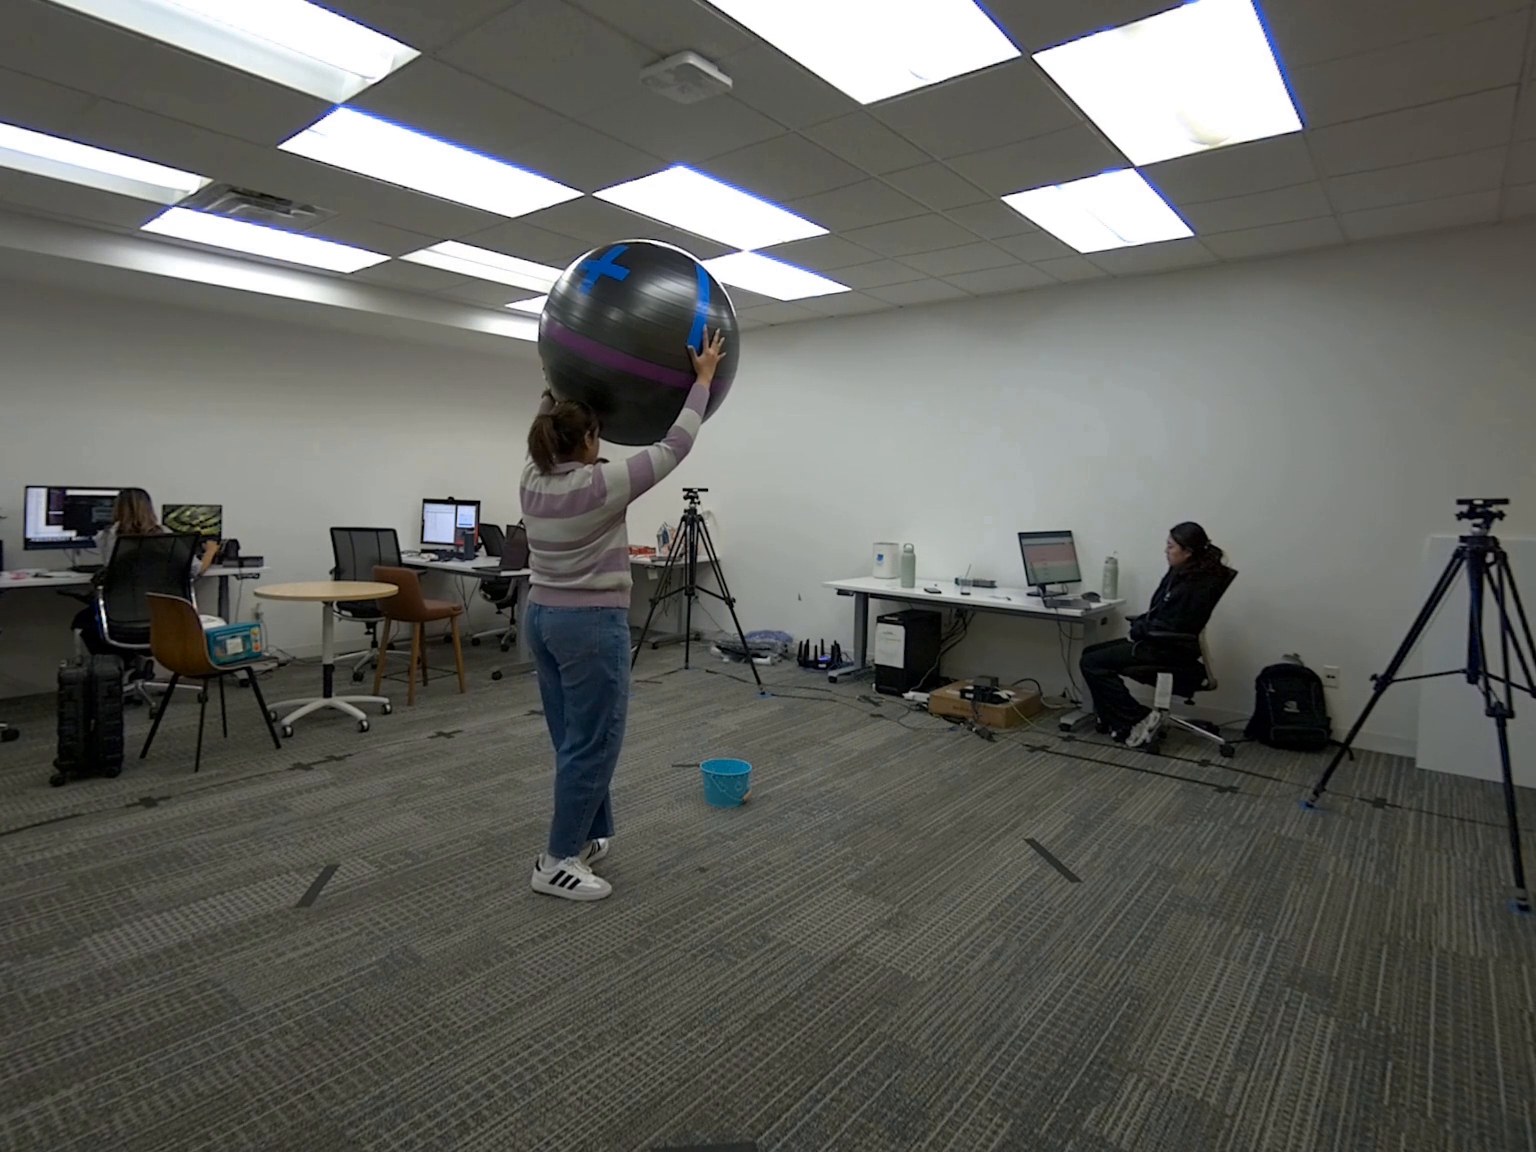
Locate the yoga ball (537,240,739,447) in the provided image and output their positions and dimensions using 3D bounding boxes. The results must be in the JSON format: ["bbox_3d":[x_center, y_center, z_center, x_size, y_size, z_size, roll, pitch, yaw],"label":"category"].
[{"bbox_3d":[-0.495,-0.868,3.216,0.757,0.756,0.761,1,4,-2],"label":"yoga ball"}]
